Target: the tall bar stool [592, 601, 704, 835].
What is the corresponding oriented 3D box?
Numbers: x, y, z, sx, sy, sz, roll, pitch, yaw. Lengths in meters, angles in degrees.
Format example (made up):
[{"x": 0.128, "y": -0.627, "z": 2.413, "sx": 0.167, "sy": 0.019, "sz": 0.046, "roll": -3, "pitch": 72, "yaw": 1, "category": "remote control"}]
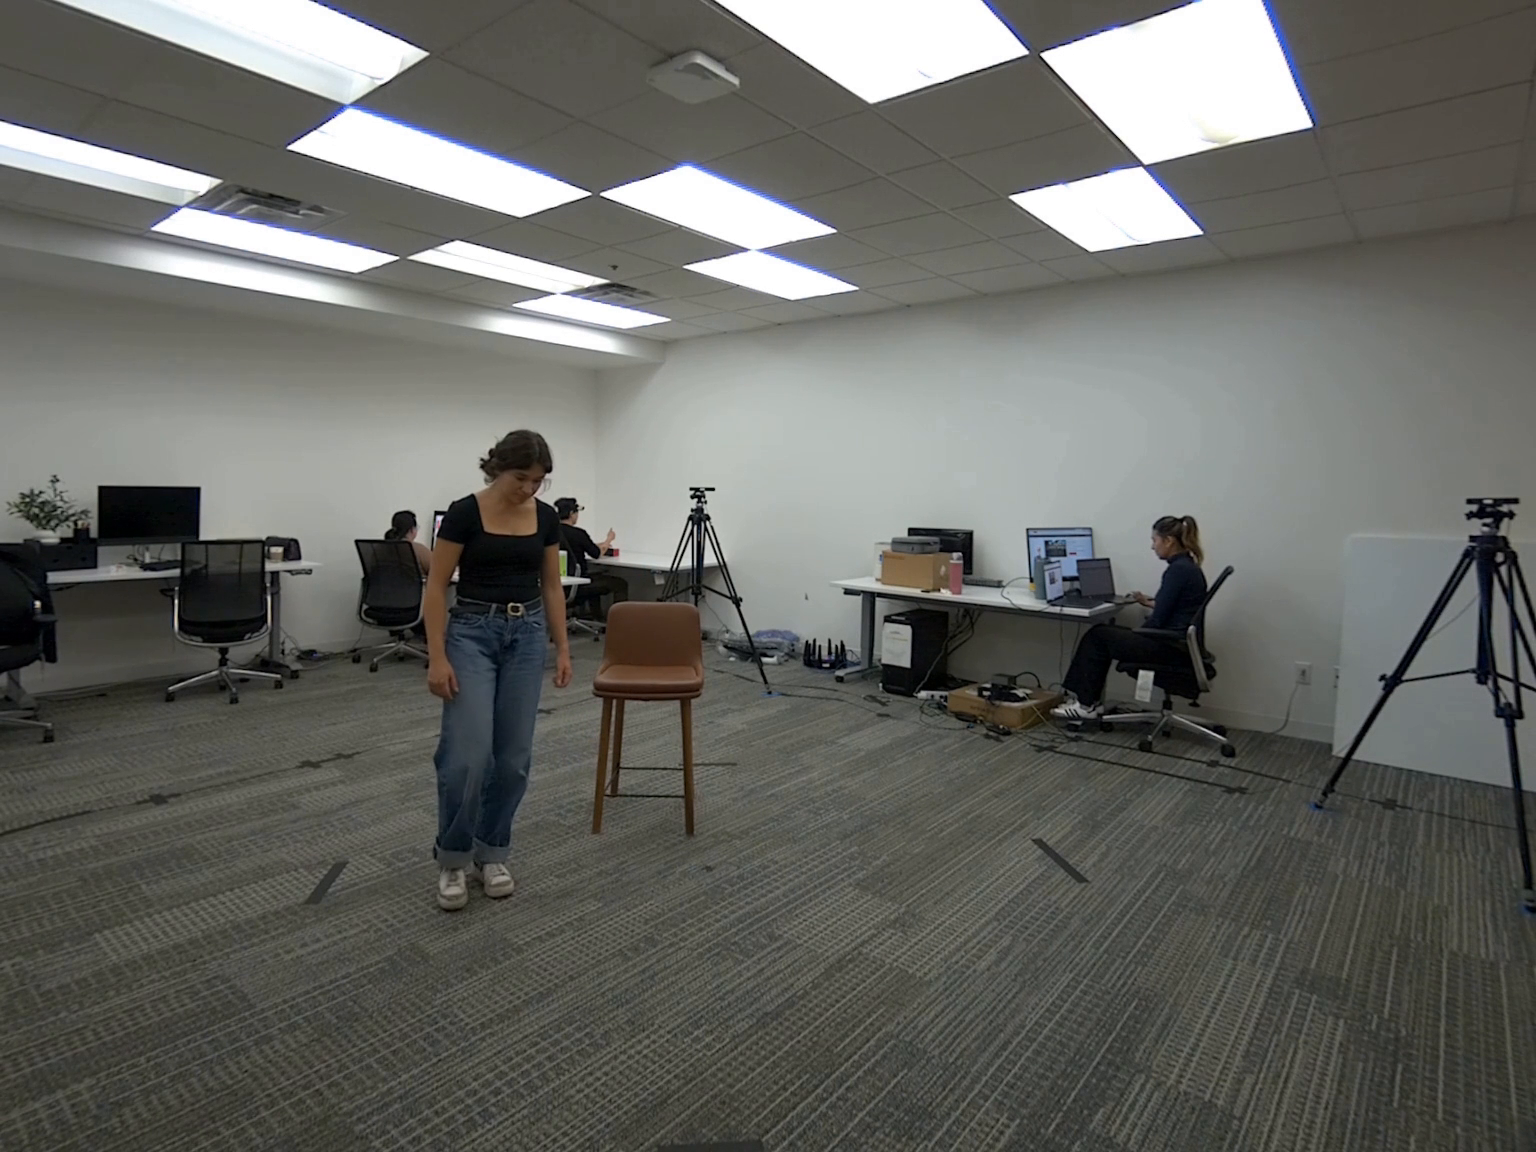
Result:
[{"x": -0.513, "y": 0.575, "z": 3.610, "sx": 0.456, "sy": 0.889, "sz": 0.468, "roll": 1, "pitch": 1, "yaw": -1, "category": "tall bar stool"}]
